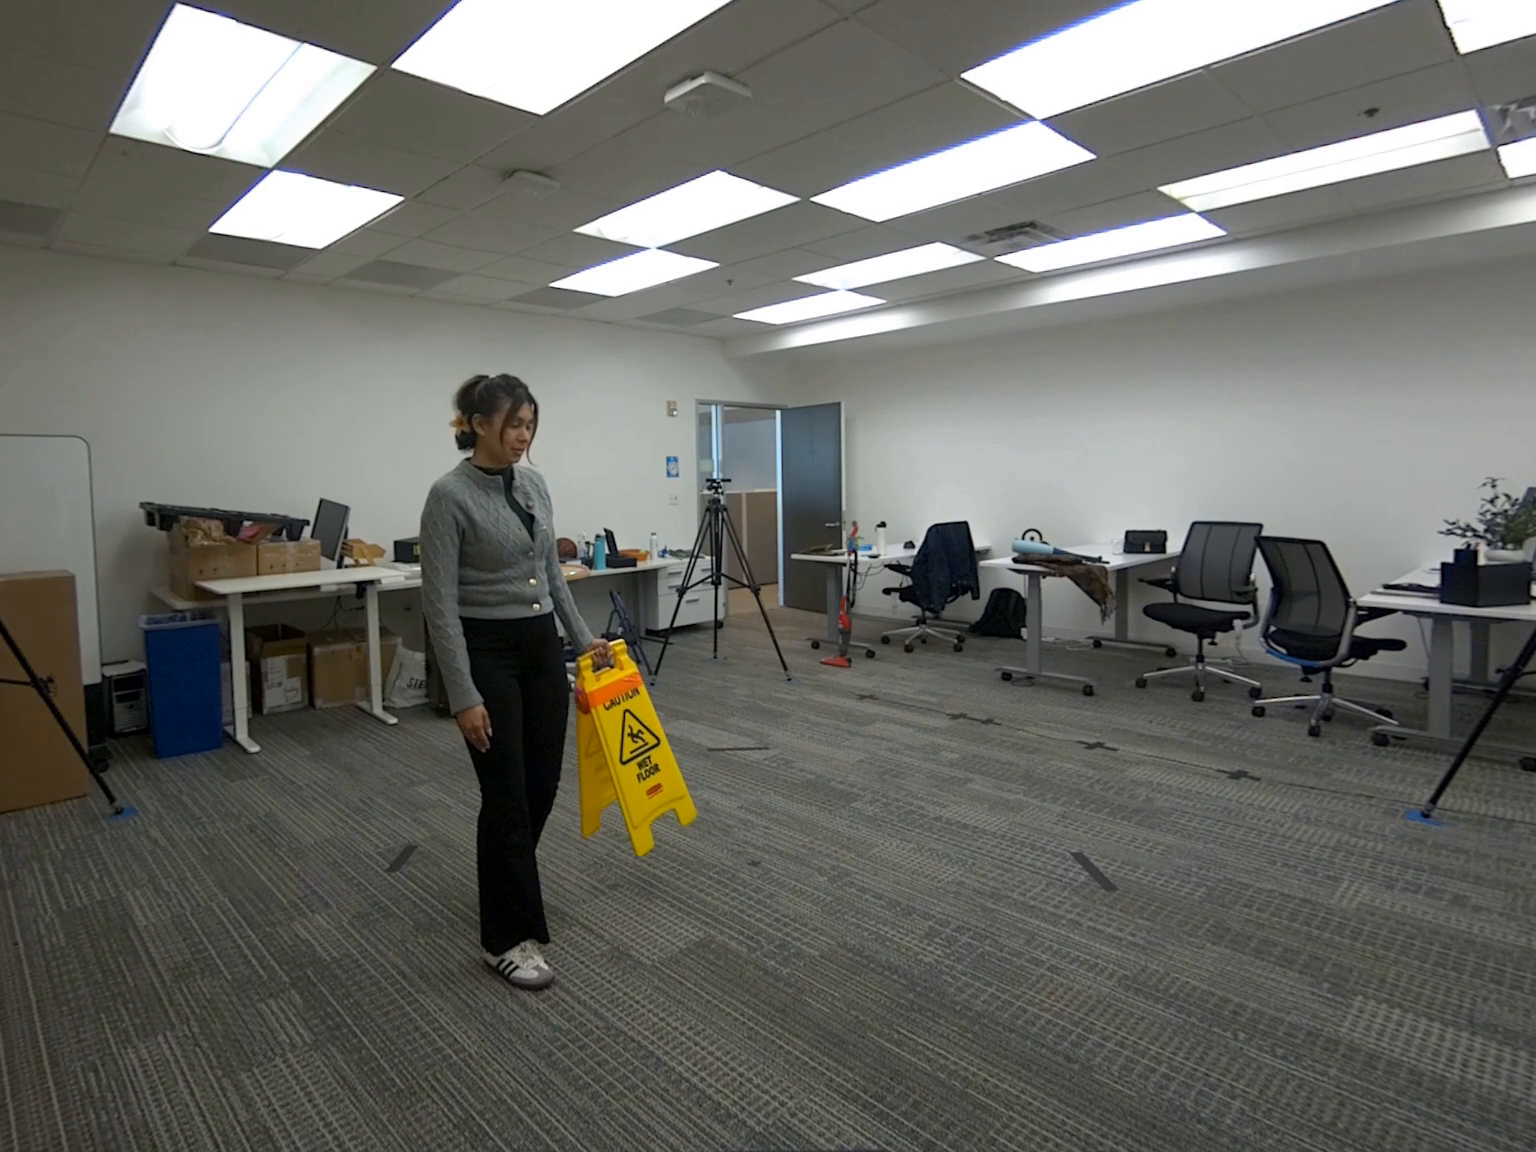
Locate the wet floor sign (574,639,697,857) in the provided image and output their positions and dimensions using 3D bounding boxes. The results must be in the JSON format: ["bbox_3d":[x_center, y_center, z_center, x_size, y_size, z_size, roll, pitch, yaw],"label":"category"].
[{"bbox_3d":[-0.491,0.548,2.865,0.298,0.640,0.277,-2,13,42],"label":"wet floor sign"}]
